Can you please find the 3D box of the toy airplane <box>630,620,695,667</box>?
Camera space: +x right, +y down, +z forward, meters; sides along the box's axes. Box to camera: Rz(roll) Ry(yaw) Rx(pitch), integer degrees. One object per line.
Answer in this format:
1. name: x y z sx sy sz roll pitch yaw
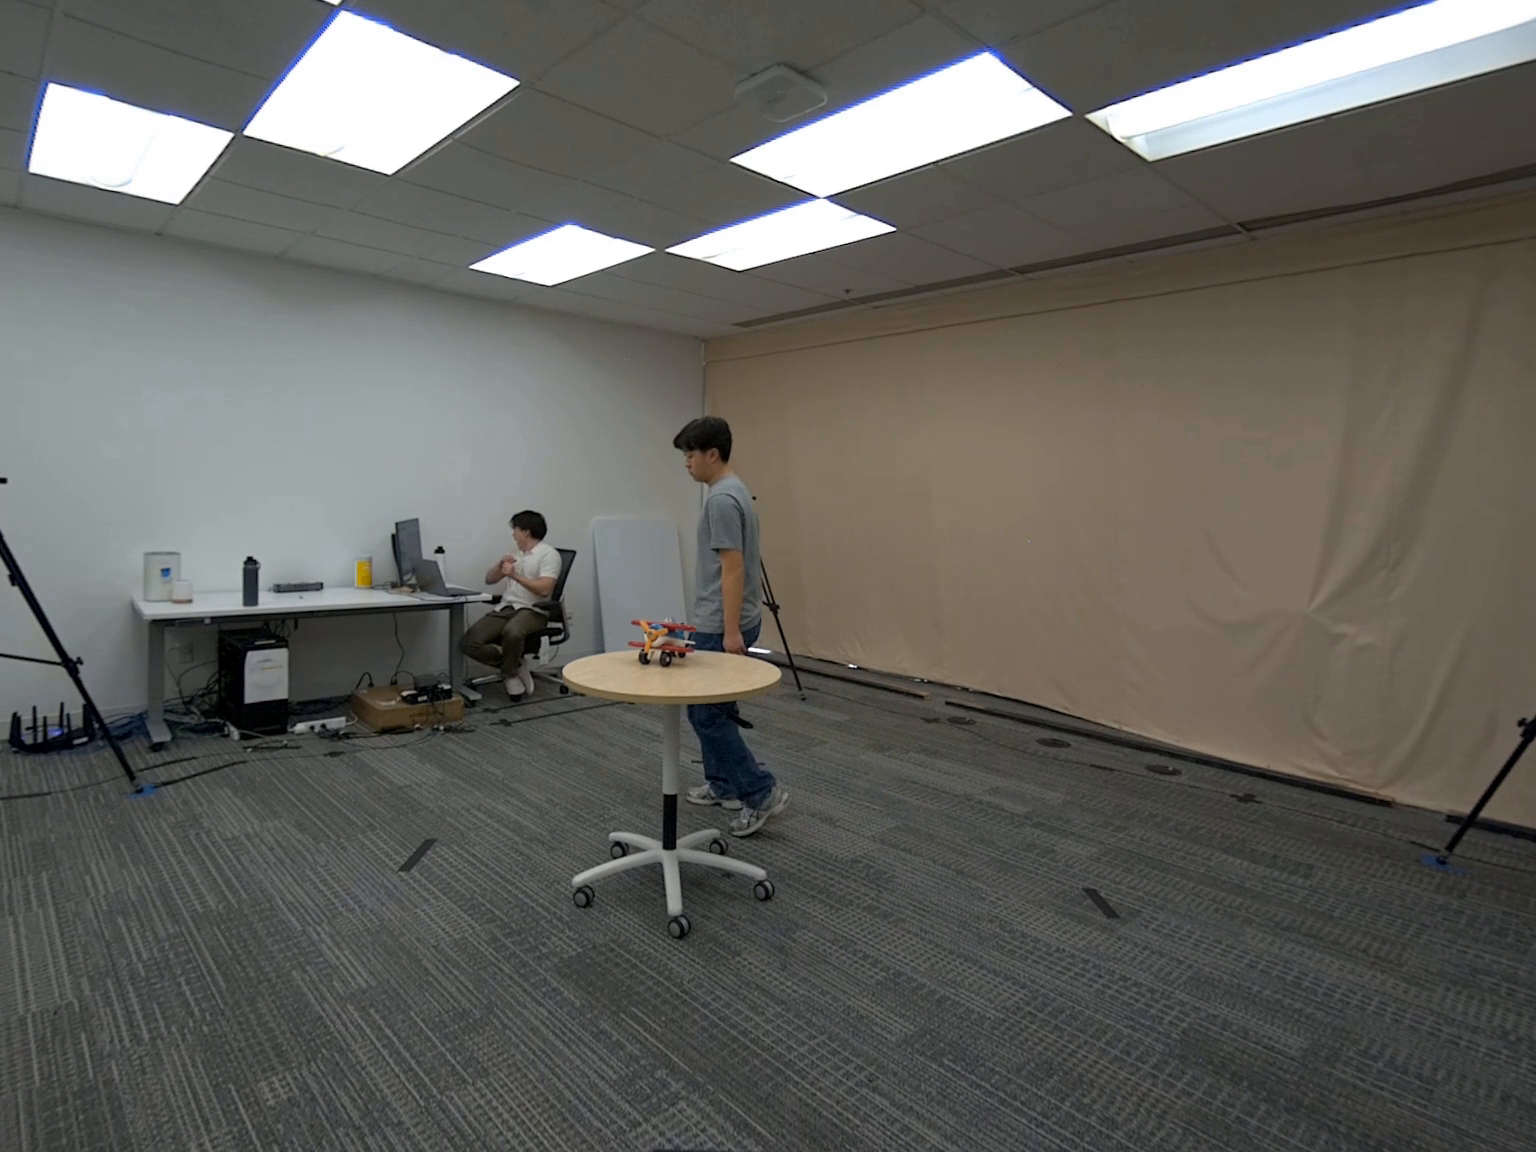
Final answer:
1. toy airplane: -0.401 0.239 3.107 0.250 0.156 0.261 2 6 -7
